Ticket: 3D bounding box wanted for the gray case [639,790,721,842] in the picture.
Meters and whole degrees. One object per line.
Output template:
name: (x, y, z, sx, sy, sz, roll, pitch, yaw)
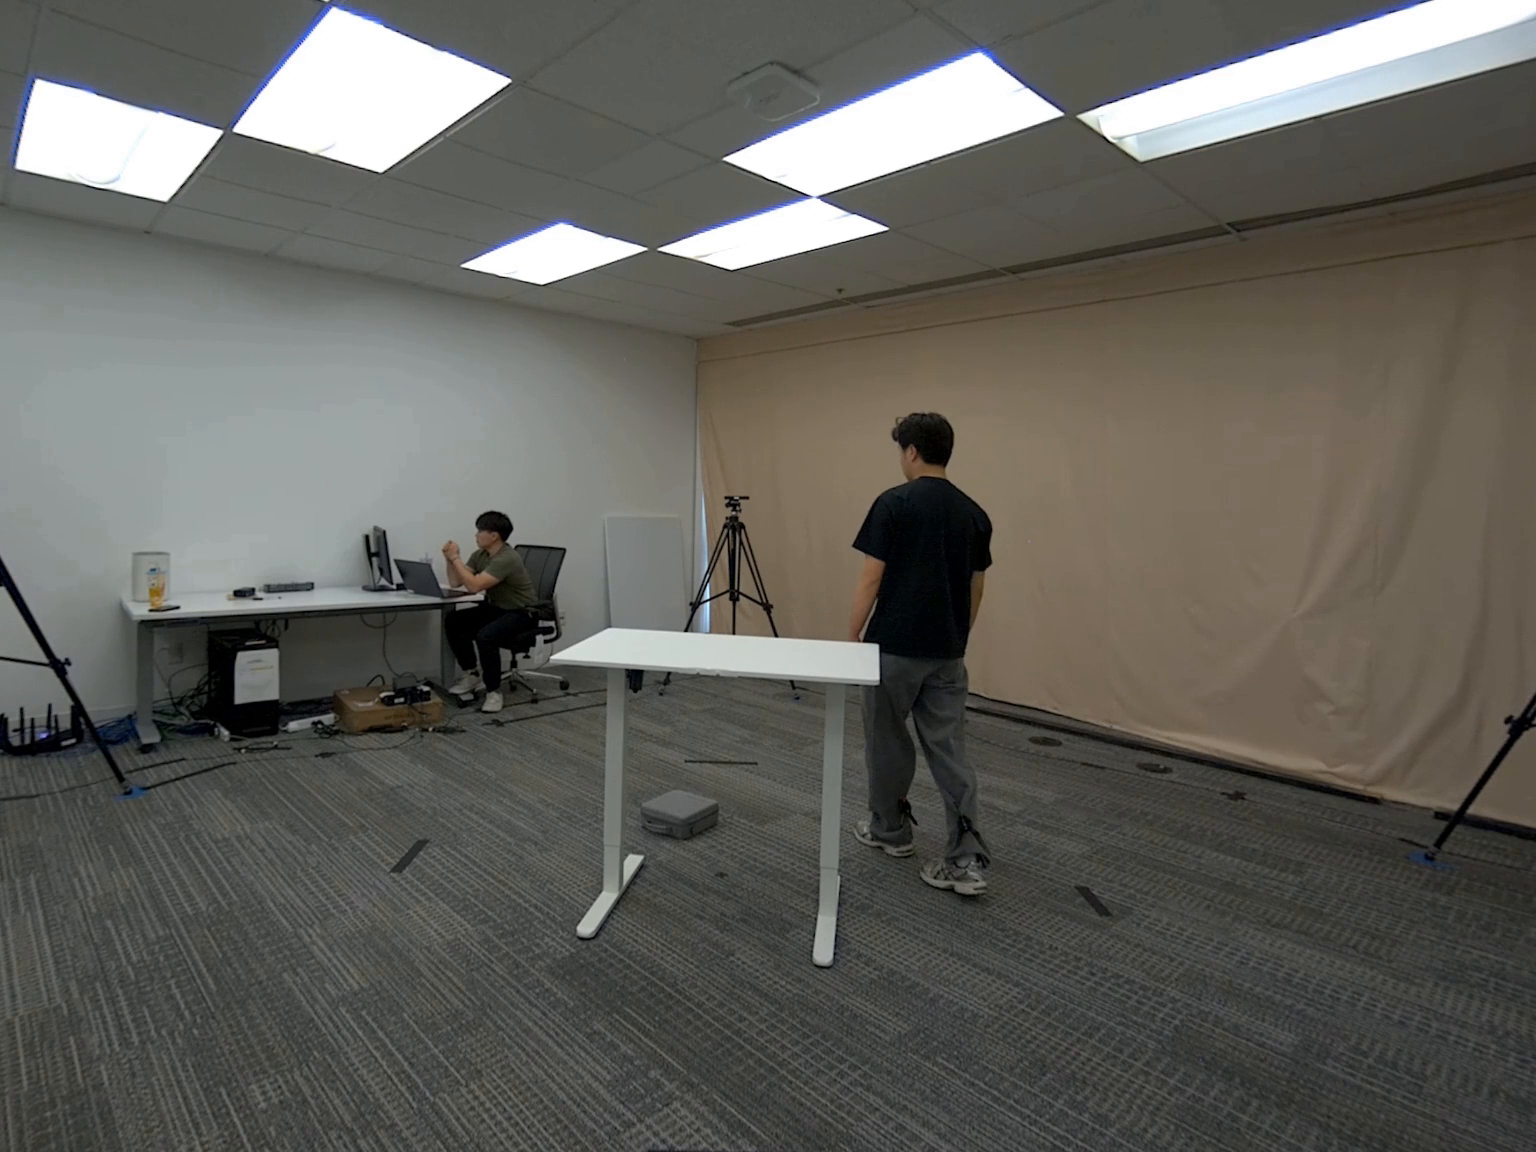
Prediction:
gray case: (-0.387, 1.006, 3.552, 0.269, 0.103, 0.281, 4, 7, 35)
